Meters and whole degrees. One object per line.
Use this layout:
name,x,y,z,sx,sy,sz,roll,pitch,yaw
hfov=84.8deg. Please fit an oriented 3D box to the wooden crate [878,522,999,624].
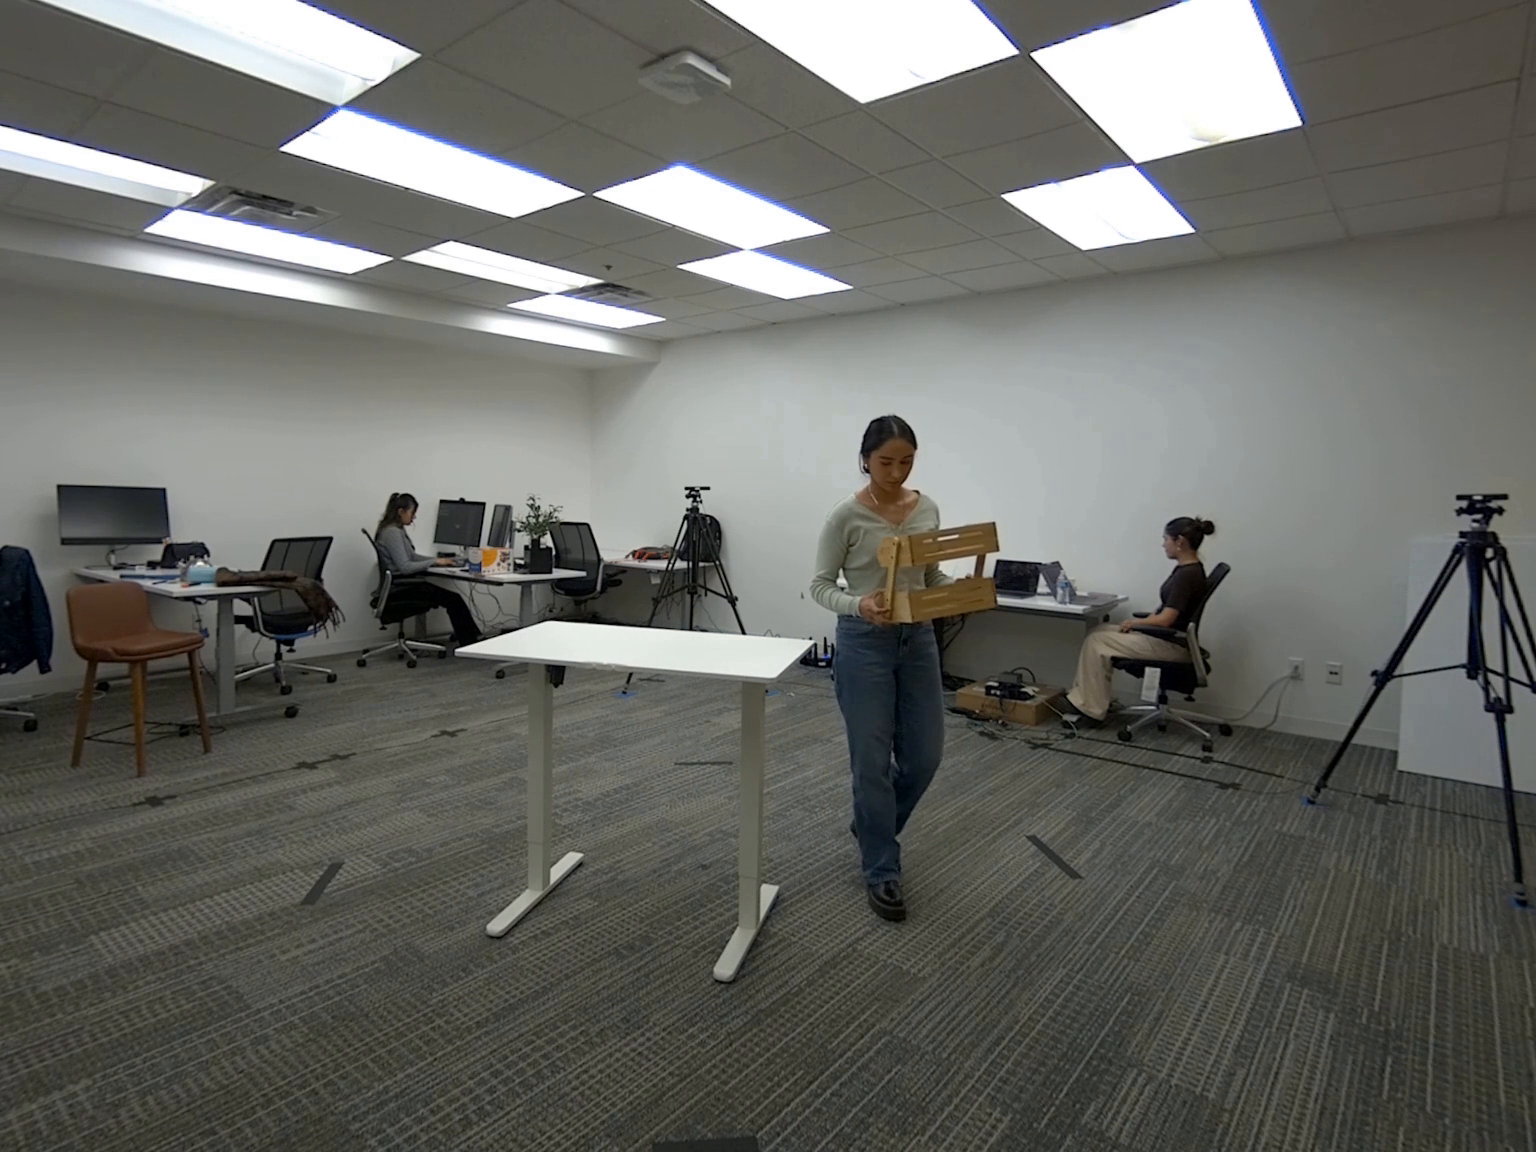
wooden crate,0.503,-0.021,2.643,0.319,0.273,0.307,-7,0,-20
